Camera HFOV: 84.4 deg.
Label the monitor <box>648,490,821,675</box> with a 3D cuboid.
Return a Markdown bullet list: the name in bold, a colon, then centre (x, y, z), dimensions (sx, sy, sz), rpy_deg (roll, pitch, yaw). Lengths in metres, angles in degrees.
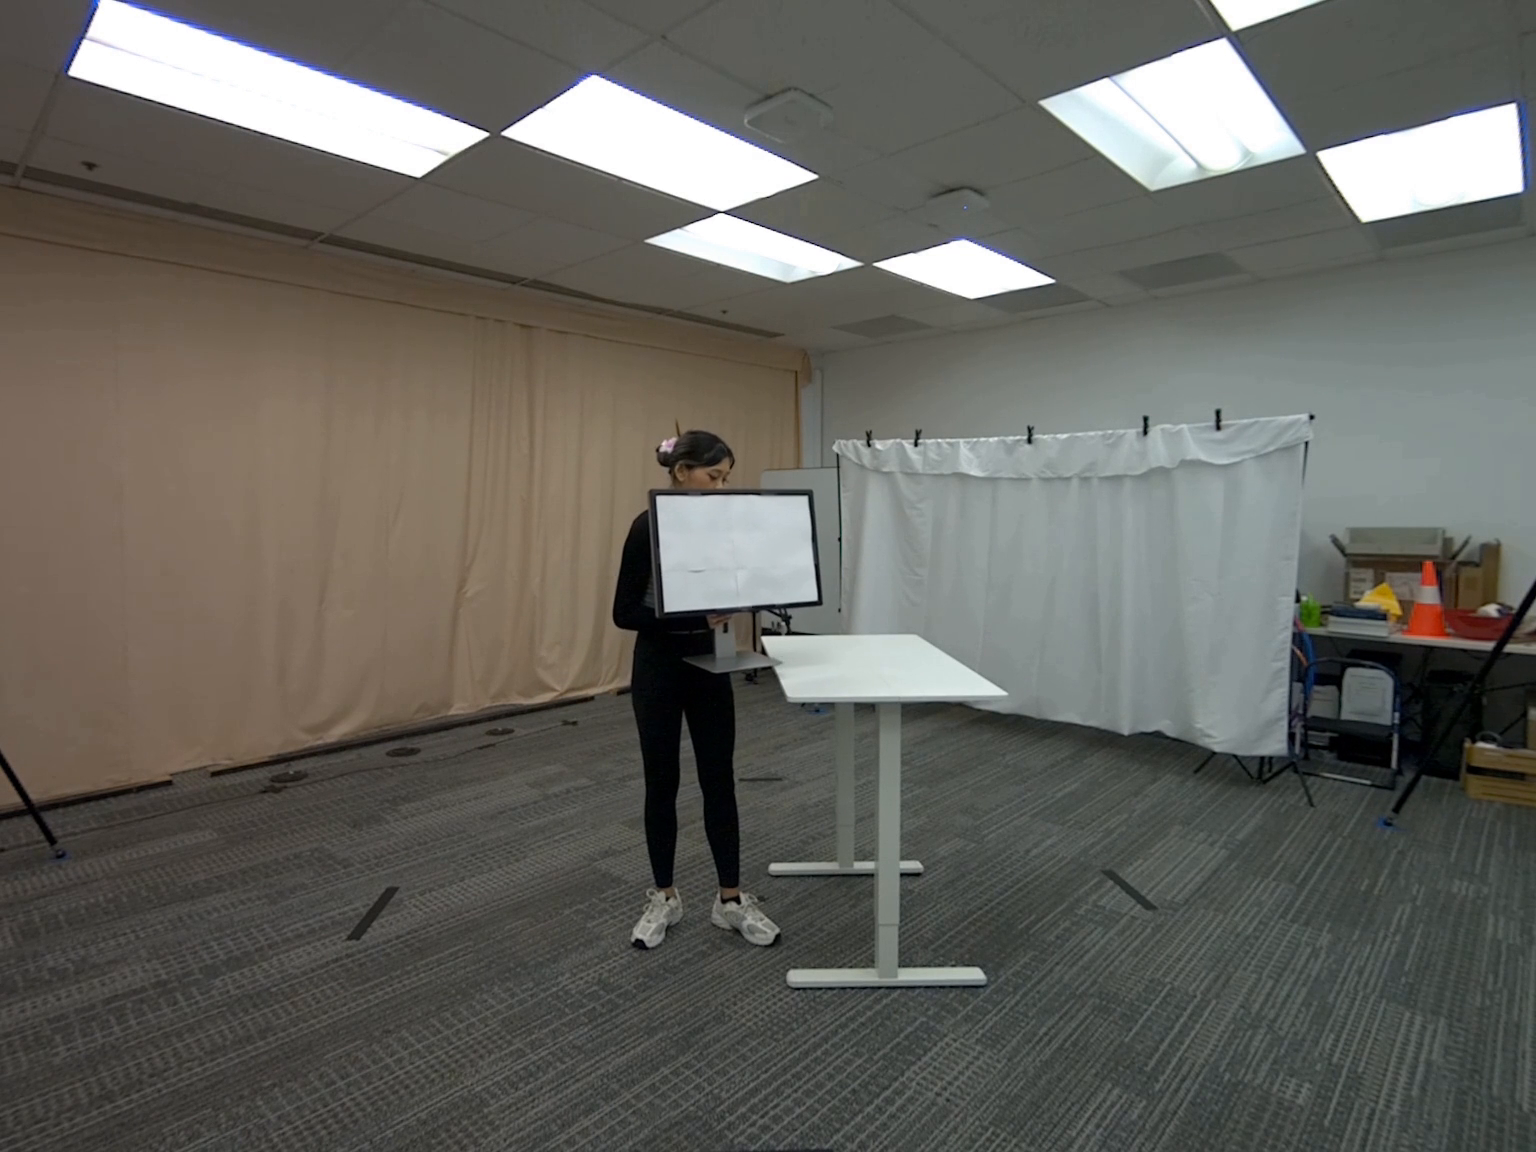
- **monitor**: centre (-0.103, 0.008, 2.518), dimensions (0.524, 0.520, 0.193), rpy_deg (-3, 7, -32)
